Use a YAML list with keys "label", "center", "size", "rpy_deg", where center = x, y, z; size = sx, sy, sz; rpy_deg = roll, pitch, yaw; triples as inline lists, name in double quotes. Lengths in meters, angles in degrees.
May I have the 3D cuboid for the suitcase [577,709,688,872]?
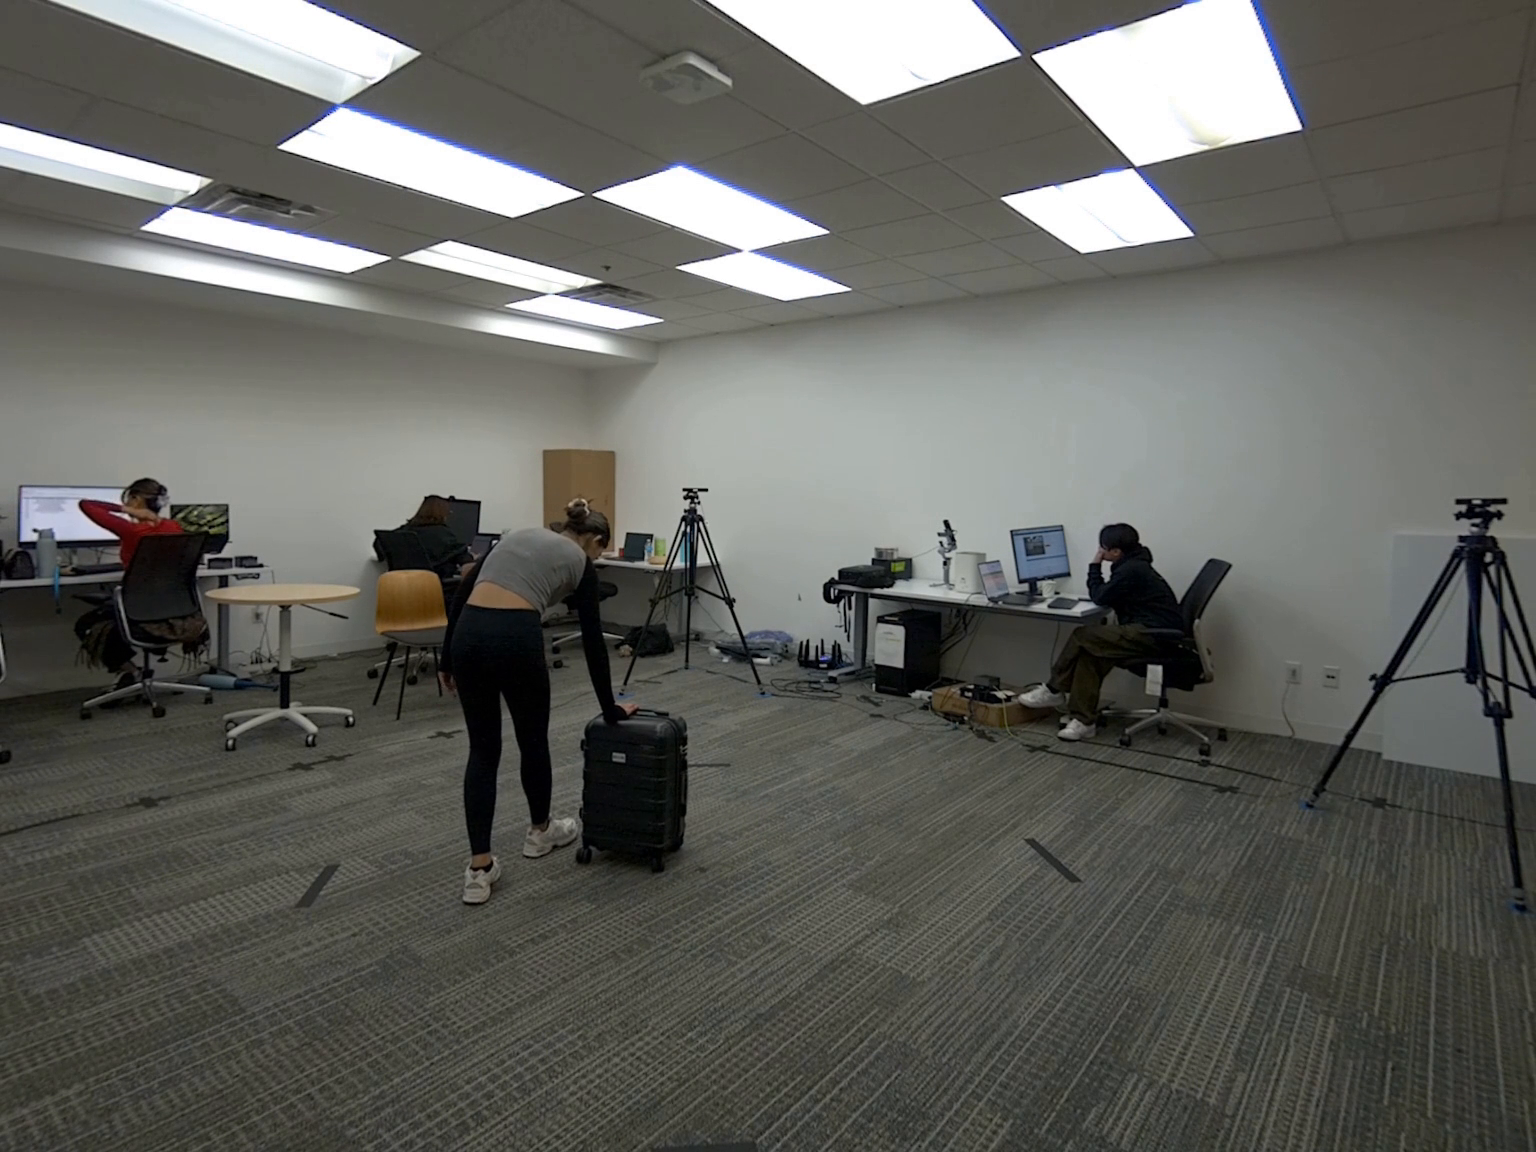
- label: "suitcase"
  center: [-0.511, 0.784, 3.209]
  size: [0.382, 0.548, 0.245]
  rpy_deg: [3, 3, 16]
